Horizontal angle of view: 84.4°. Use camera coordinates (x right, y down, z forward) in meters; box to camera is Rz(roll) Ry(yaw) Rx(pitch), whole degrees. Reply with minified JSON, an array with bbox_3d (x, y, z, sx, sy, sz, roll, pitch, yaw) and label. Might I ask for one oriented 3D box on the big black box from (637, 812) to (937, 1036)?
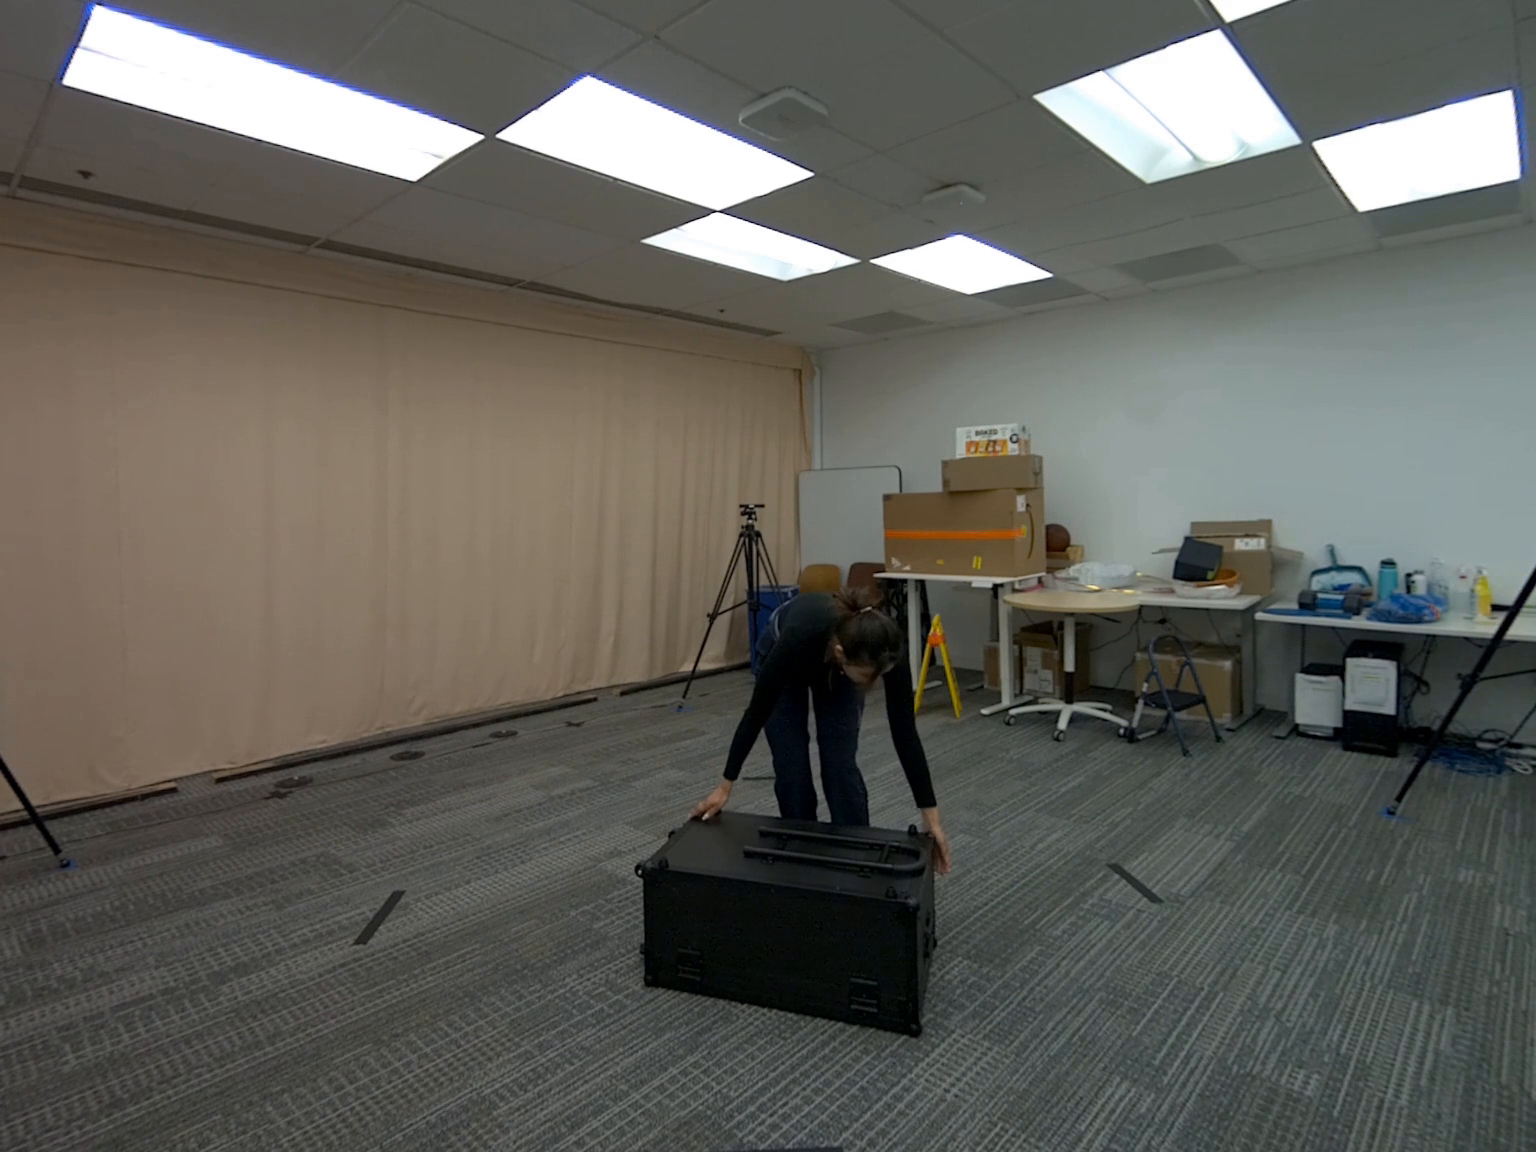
[{"bbox_3d":[0.046,0.983,2.537,0.878,0.395,0.512,-1,4,18],"label":"big black box"}]
